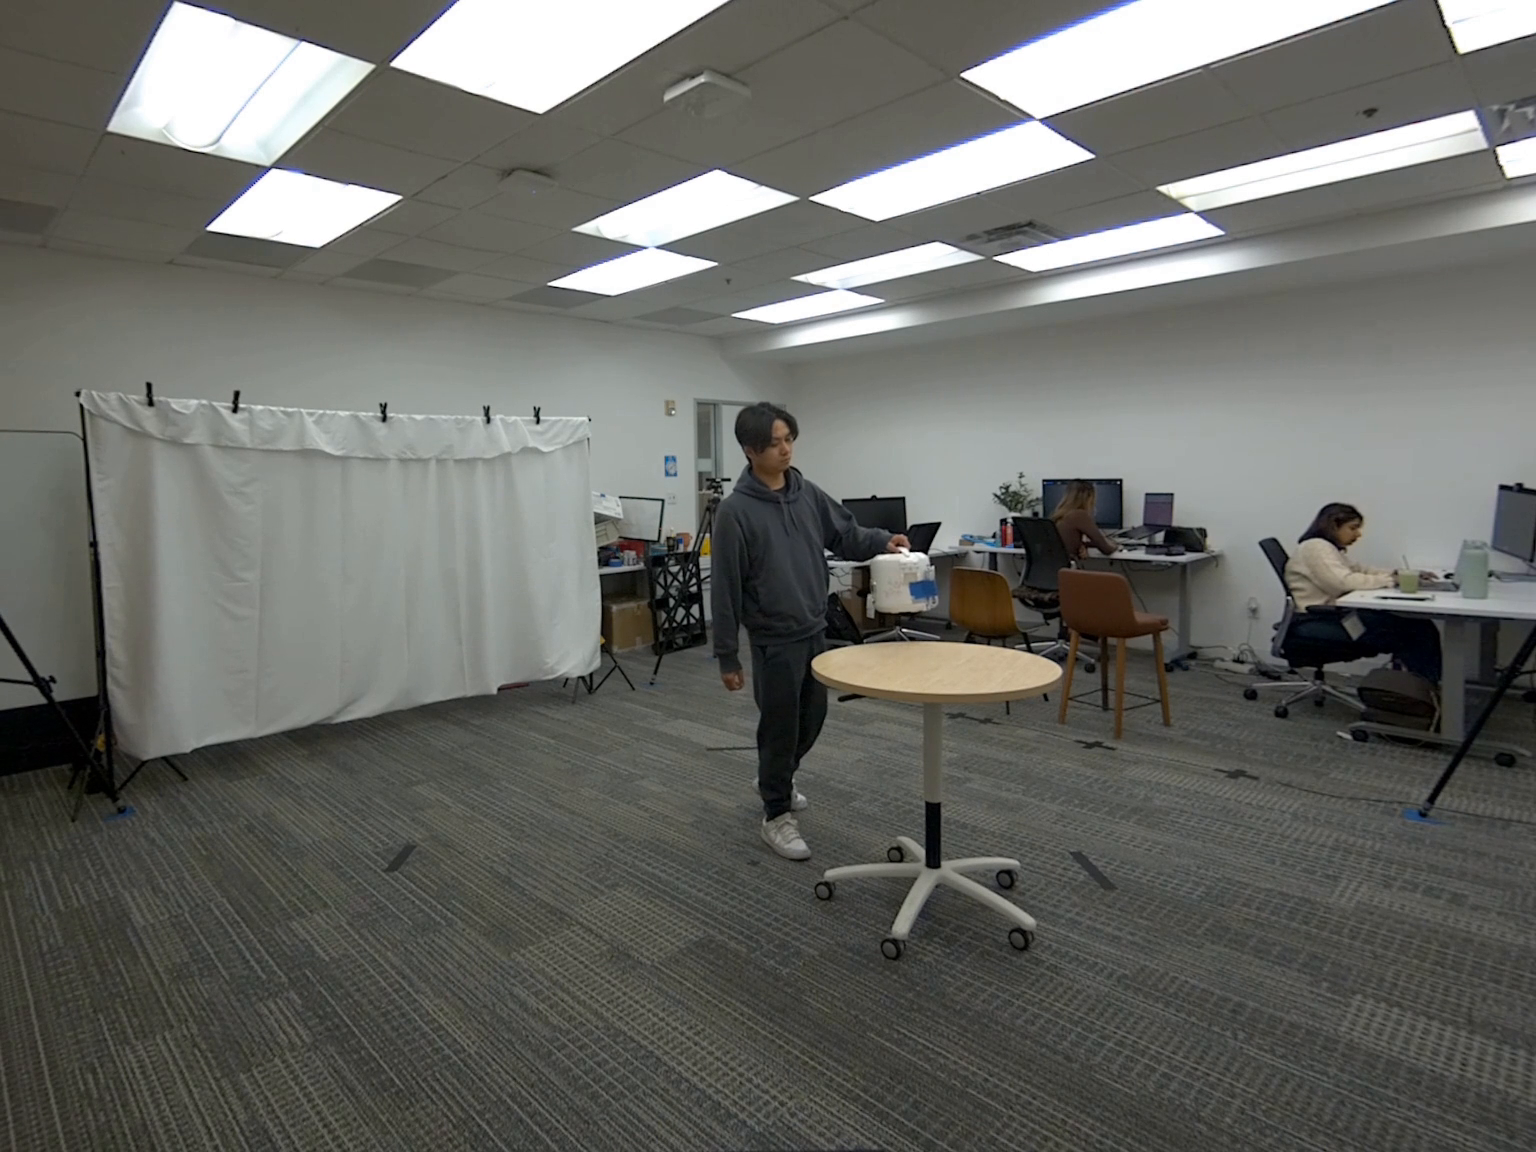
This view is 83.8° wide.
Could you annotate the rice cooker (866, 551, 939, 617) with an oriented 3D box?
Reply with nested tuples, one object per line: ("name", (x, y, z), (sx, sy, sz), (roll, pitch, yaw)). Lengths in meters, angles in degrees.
("rice cooker", (0.479, 0.011, 3.084), (0.216, 0.233, 0.222), (-3, -1, -8))
